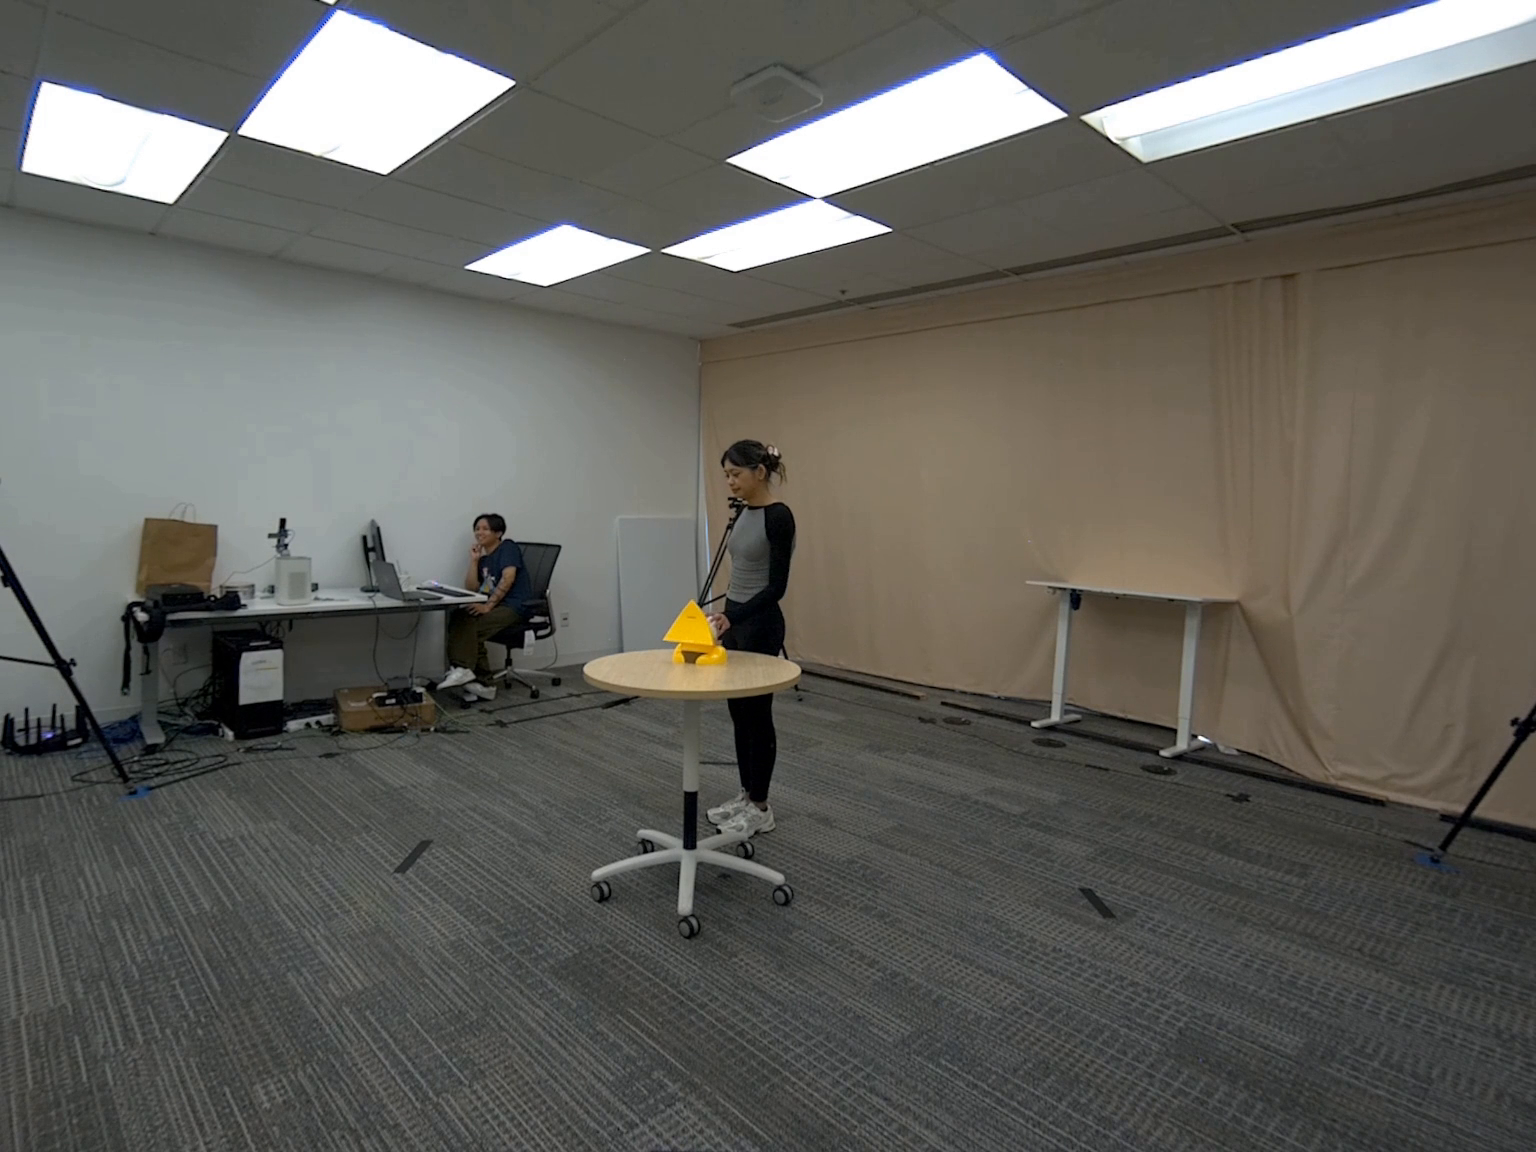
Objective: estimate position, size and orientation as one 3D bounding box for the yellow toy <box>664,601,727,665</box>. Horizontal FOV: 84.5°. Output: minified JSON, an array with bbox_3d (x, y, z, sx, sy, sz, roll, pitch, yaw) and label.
[{"bbox_3d":[-0.259,0.201,3.110,0.209,0.230,0.189,2,3,26],"label":"yellow toy"}]
